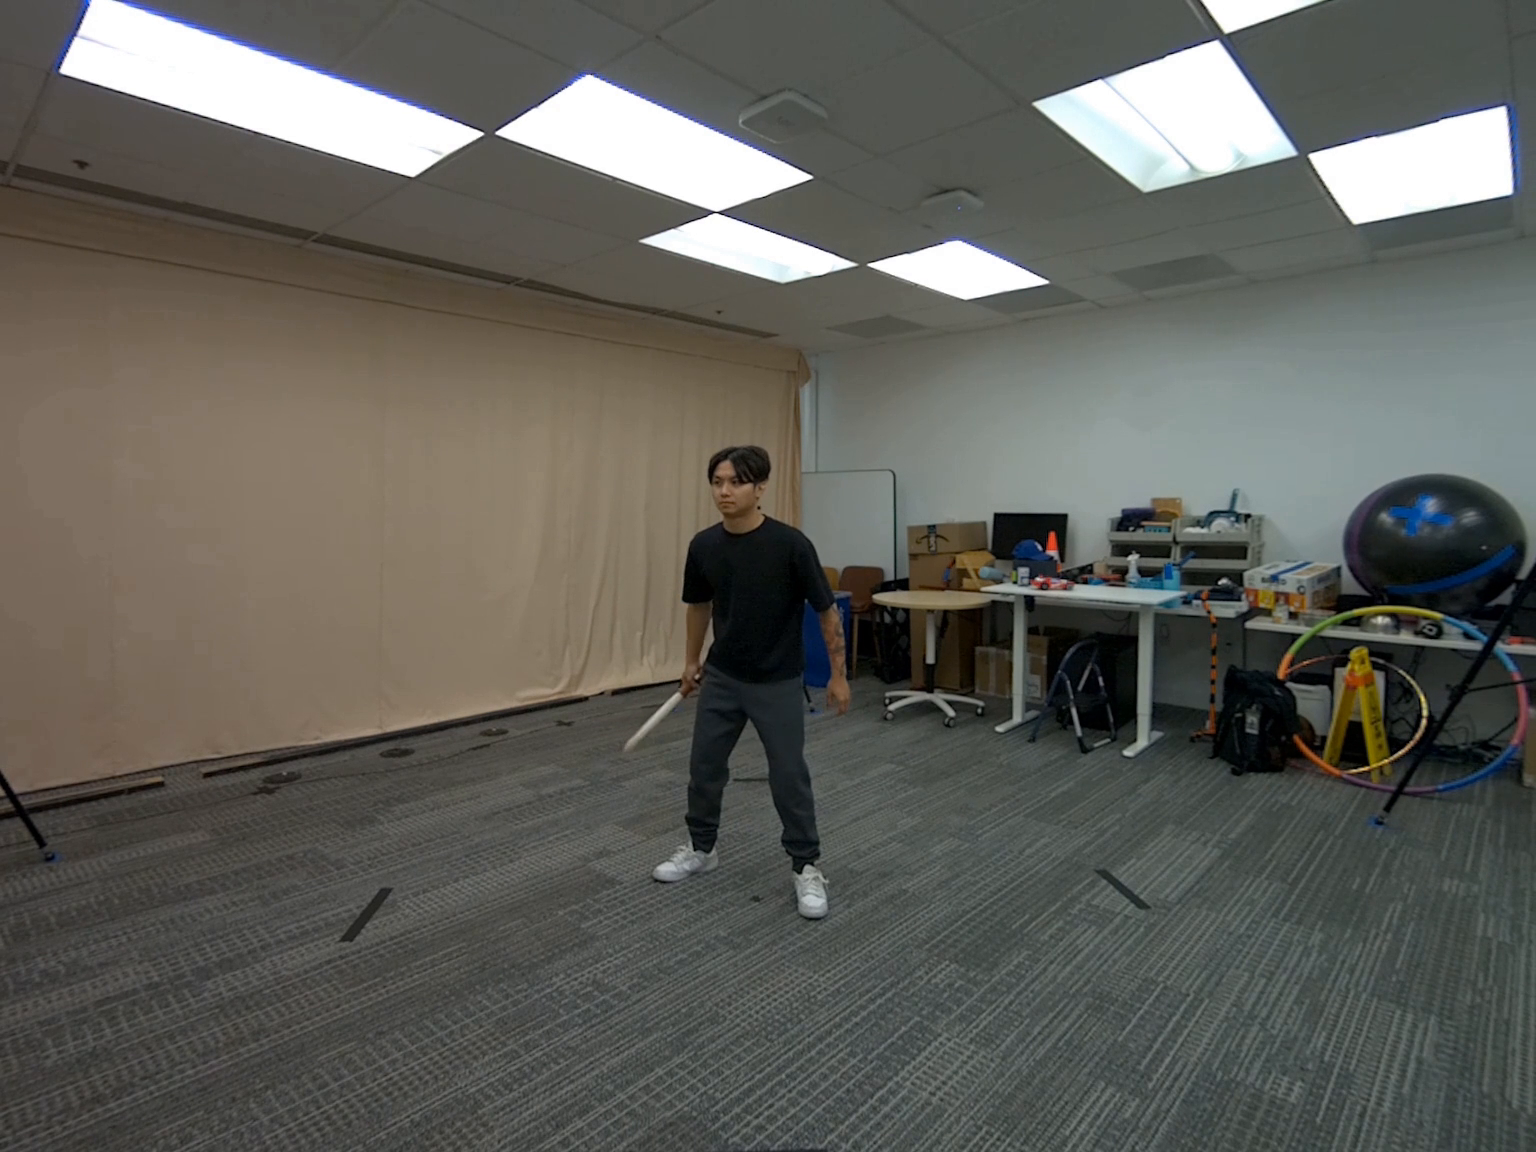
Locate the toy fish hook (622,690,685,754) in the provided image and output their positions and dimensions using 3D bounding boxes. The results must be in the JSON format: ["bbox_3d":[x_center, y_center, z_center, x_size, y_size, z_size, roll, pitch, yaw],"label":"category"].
[{"bbox_3d":[-0.394,0.500,3.301,0.503,0.048,0.225,-45,-1,-20],"label":"toy fish hook"}]
